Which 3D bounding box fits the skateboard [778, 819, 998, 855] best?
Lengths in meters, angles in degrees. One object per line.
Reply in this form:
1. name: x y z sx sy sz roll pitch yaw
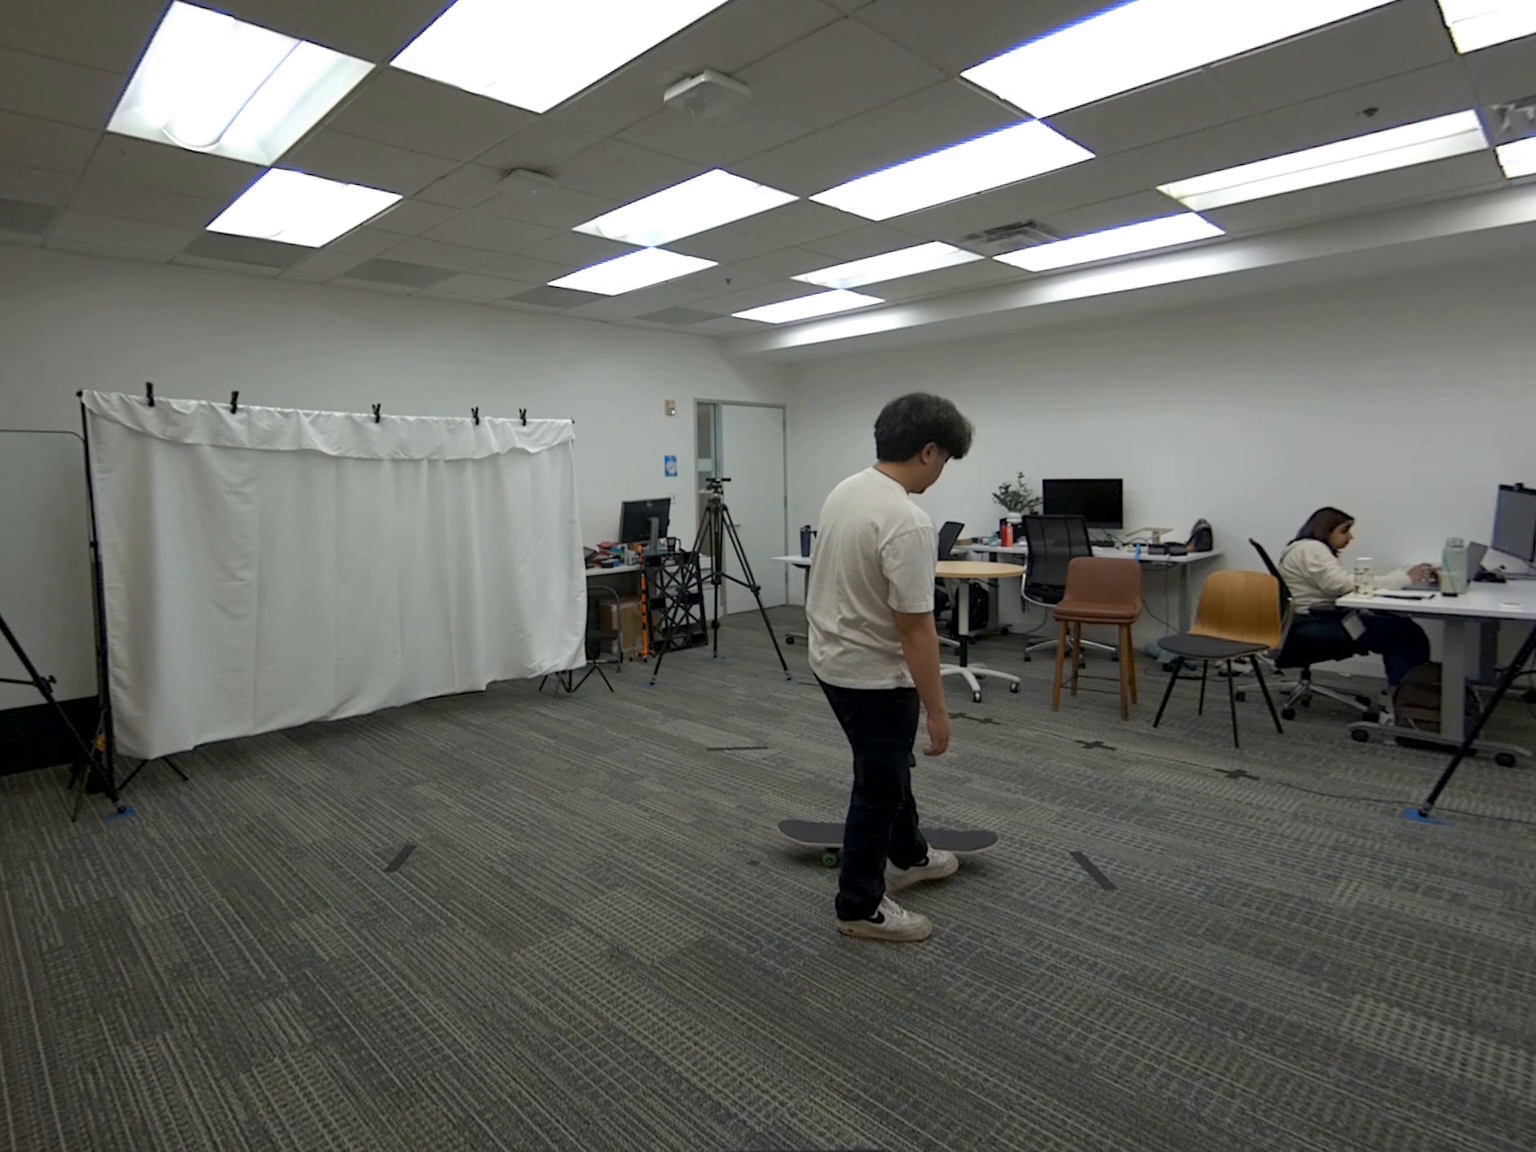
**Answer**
1. skateboard: 0.422 0.971 3.099 0.794 0.110 0.192 0 5 11
